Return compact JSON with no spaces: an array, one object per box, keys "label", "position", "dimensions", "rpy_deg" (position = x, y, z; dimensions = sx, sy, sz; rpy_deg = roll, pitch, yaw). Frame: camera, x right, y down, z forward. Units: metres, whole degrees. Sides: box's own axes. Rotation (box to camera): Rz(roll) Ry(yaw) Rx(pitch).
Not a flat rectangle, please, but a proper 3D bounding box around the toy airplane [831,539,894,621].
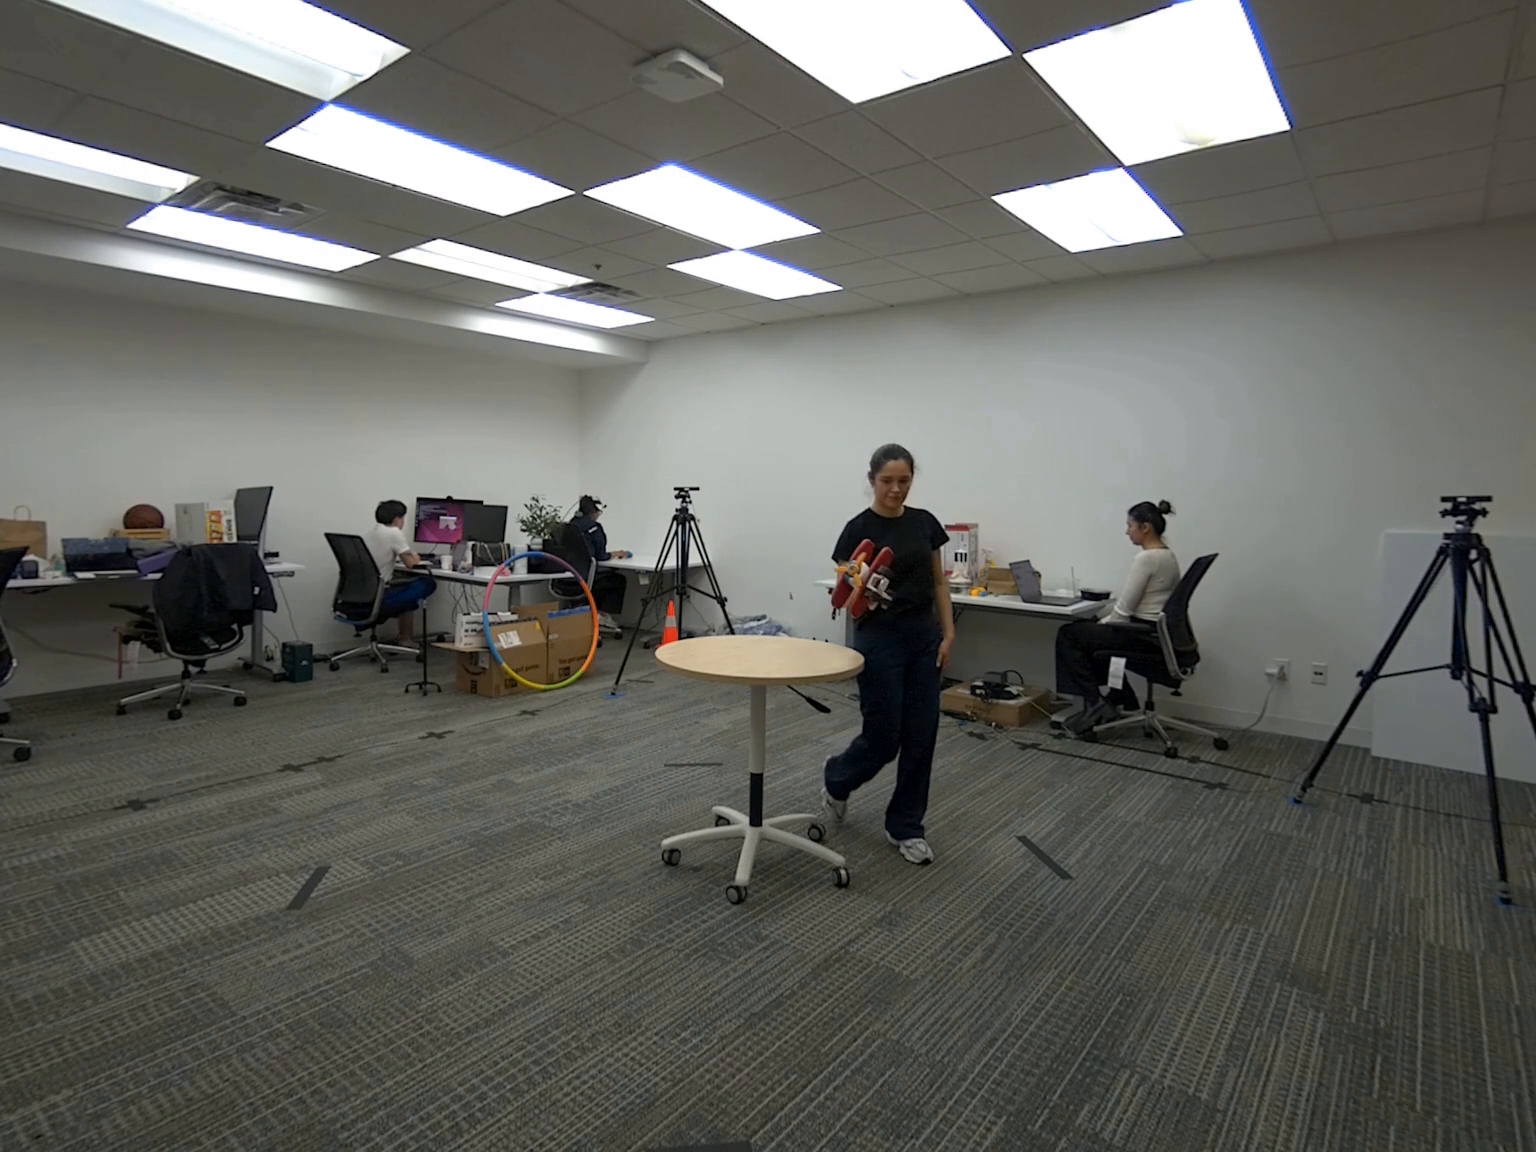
[{"label":"toy airplane","position":[0.333,0.042,2.856],"dimensions":[0.162,0.251,0.251],"rpy_deg":[28,58,25]}]
